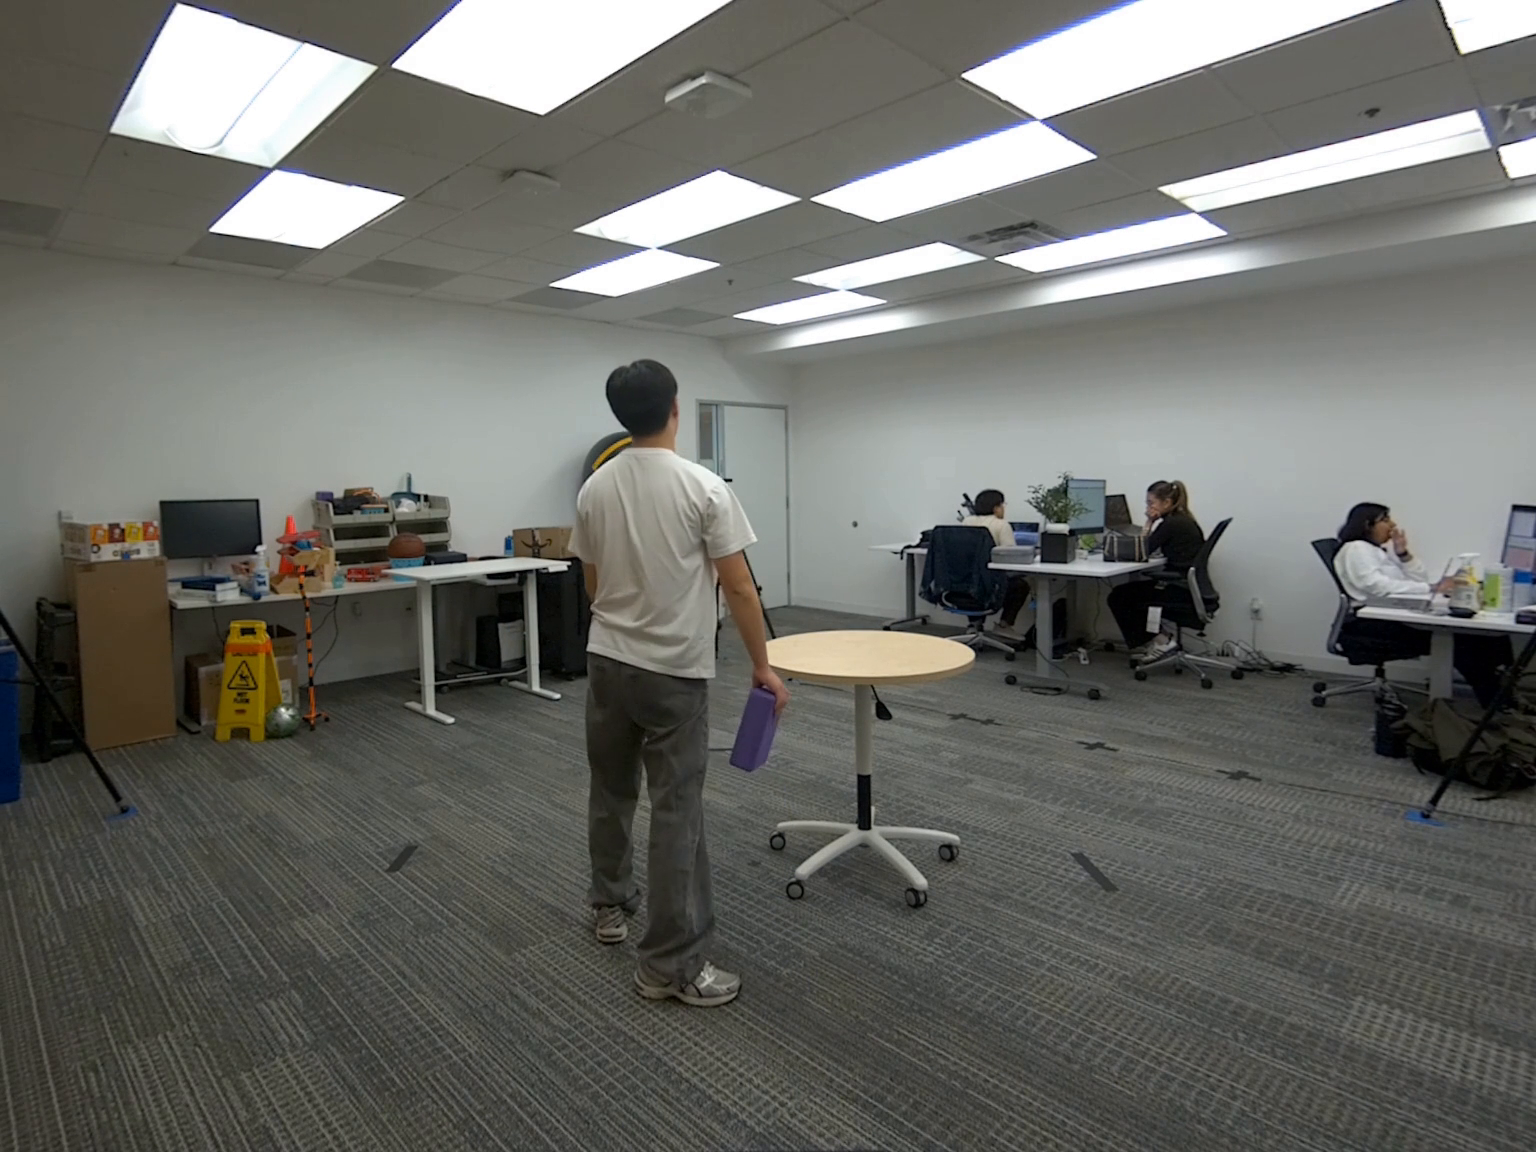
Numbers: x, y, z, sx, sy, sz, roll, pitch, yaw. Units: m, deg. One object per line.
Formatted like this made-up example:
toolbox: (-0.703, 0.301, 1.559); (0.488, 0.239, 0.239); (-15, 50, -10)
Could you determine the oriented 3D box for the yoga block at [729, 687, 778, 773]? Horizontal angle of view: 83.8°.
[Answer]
yoga block: (-0.038, 0.443, 2.484); (0.078, 0.229, 0.146); (17, 3, 16)
